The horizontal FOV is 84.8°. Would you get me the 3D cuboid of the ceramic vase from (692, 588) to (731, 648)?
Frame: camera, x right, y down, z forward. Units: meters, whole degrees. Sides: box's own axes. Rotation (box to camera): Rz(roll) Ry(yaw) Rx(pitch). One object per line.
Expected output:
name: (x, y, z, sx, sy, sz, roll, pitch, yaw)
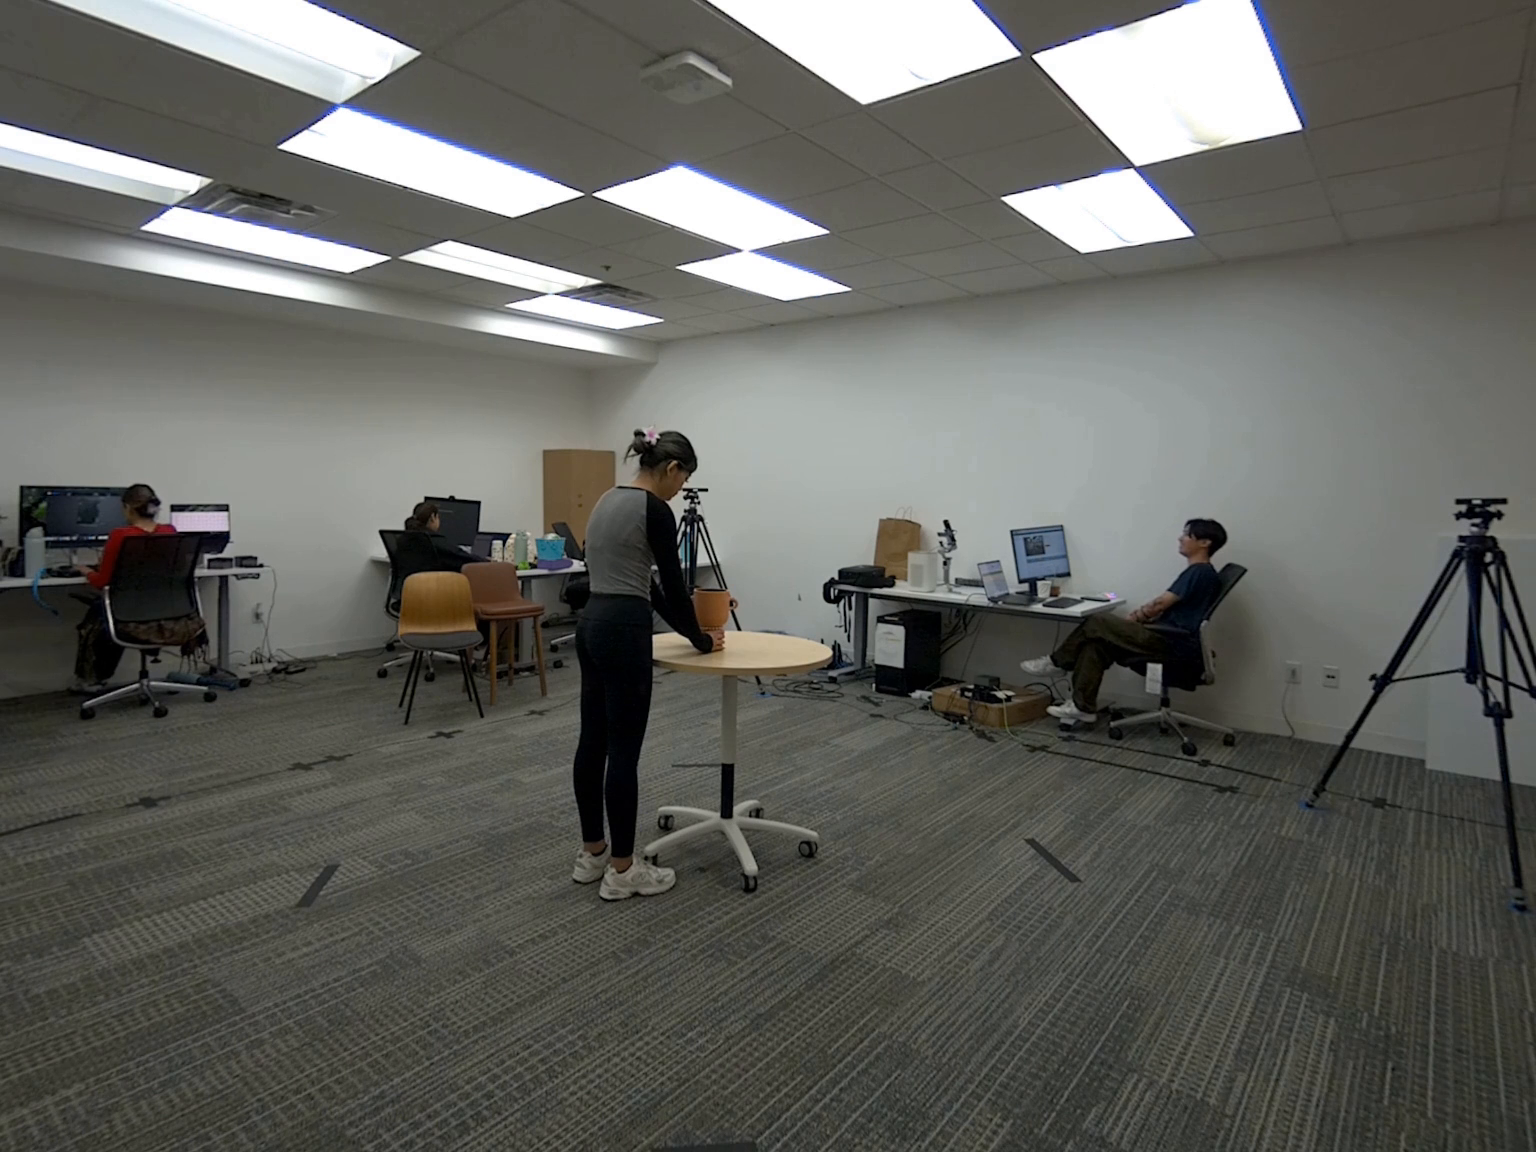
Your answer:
ceramic vase: (-0.231, 0.155, 3.166, 0.164, 0.219, 0.131, 5, 5, 34)
